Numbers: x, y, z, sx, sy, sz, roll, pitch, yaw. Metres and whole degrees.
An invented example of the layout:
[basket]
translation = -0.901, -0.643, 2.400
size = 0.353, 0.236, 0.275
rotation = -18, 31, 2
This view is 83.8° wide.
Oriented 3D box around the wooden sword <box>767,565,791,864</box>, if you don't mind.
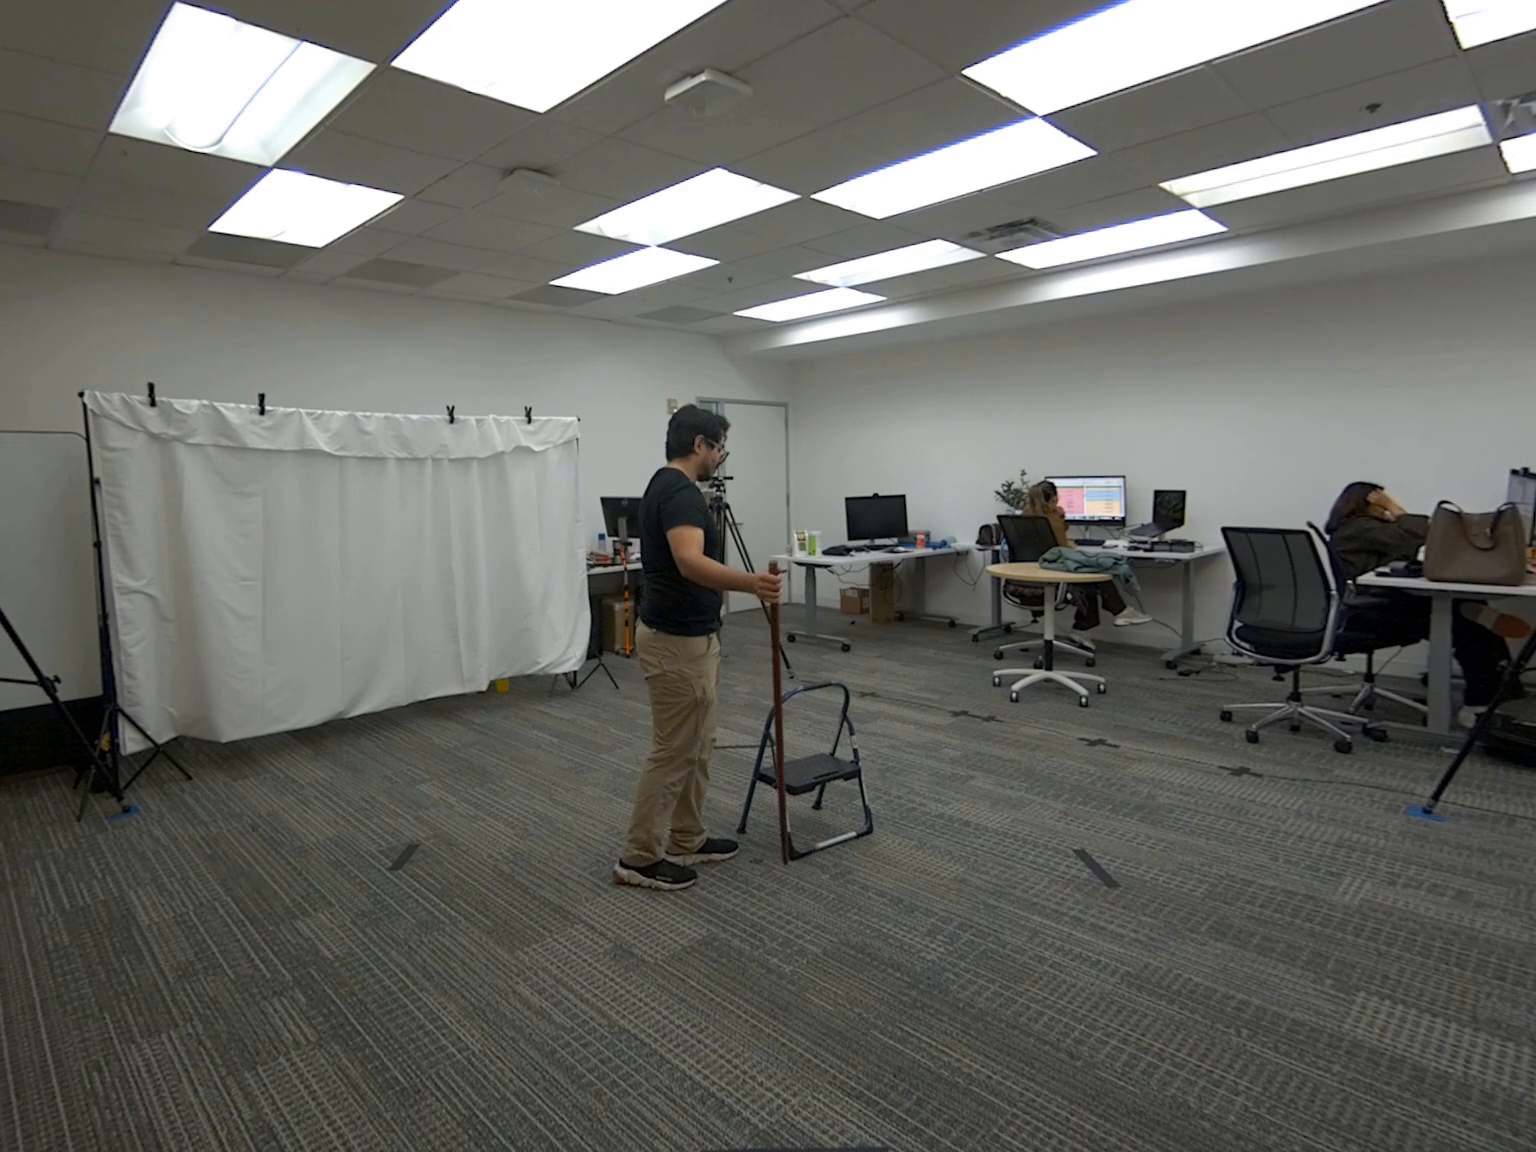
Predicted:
[wooden sword]
translation = 0.030, 0.481, 2.577
size = 0.051, 1.008, 0.024
rotation = -6, 16, -6
